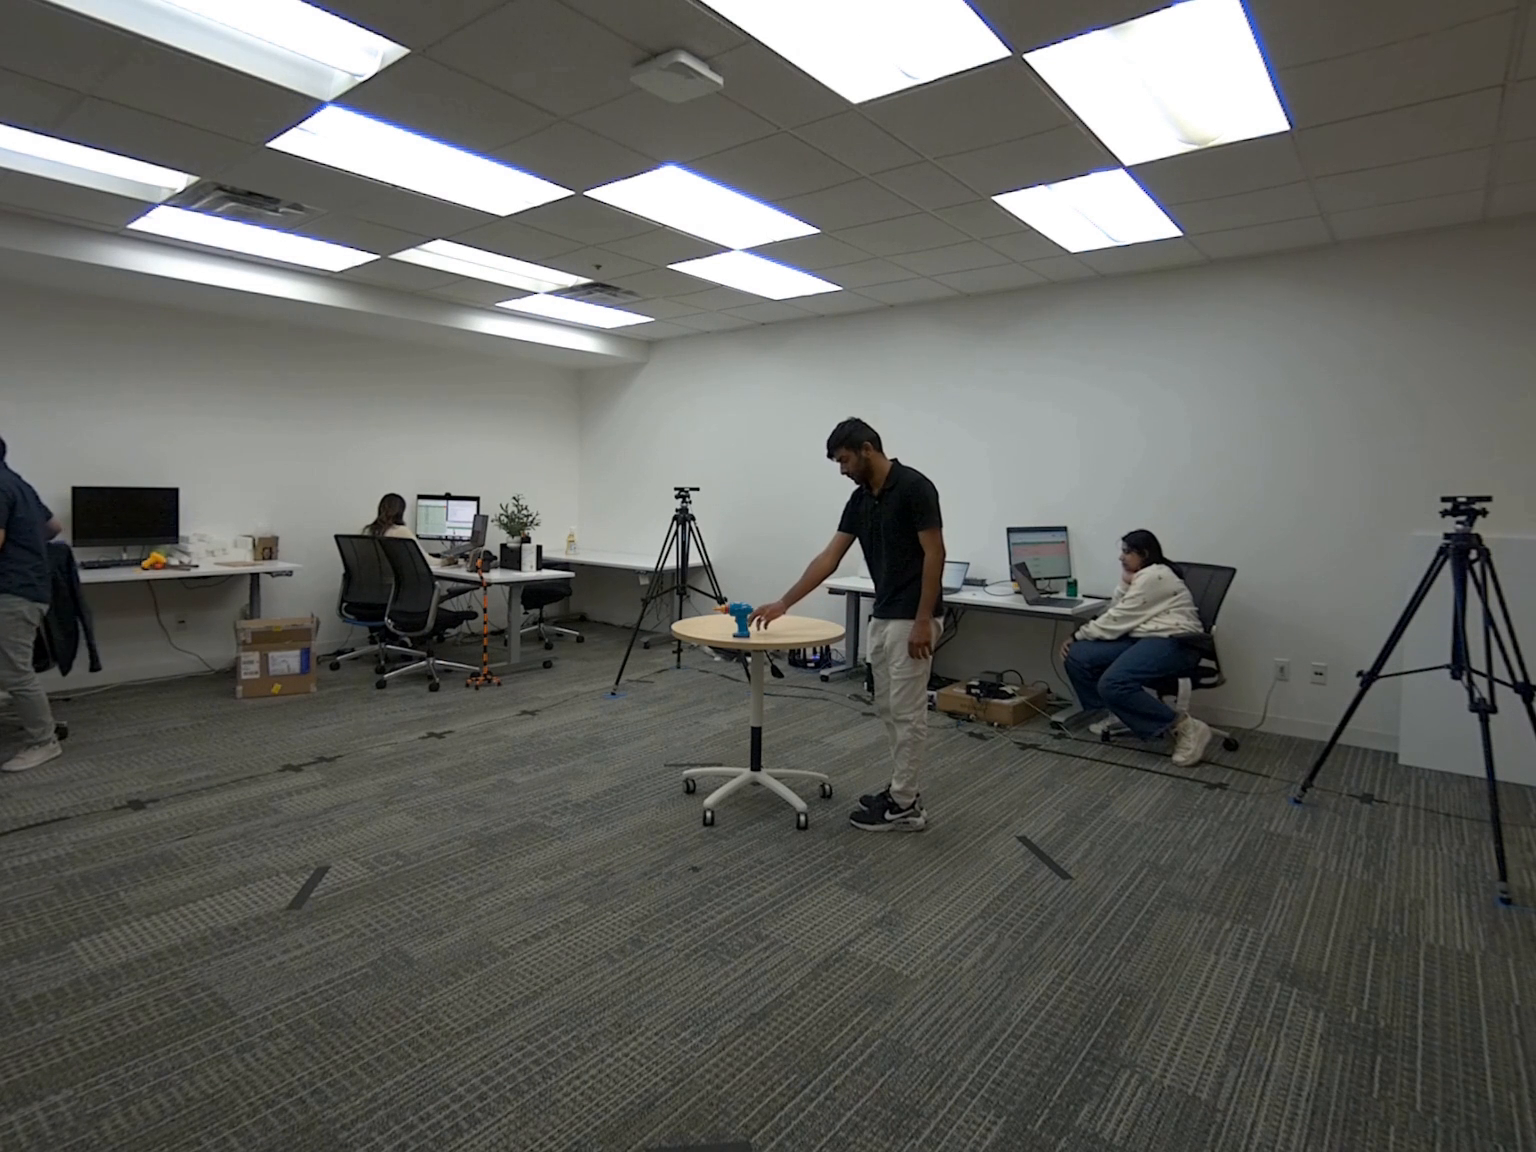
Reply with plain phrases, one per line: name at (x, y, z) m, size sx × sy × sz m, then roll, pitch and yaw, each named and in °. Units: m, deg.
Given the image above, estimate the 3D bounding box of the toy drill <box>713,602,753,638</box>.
toy drill at (-0.152, 0.177, 3.521) m, size 0.171 × 0.146 × 0.061 m, roll 1°, pitch 1°, yaw 6°
